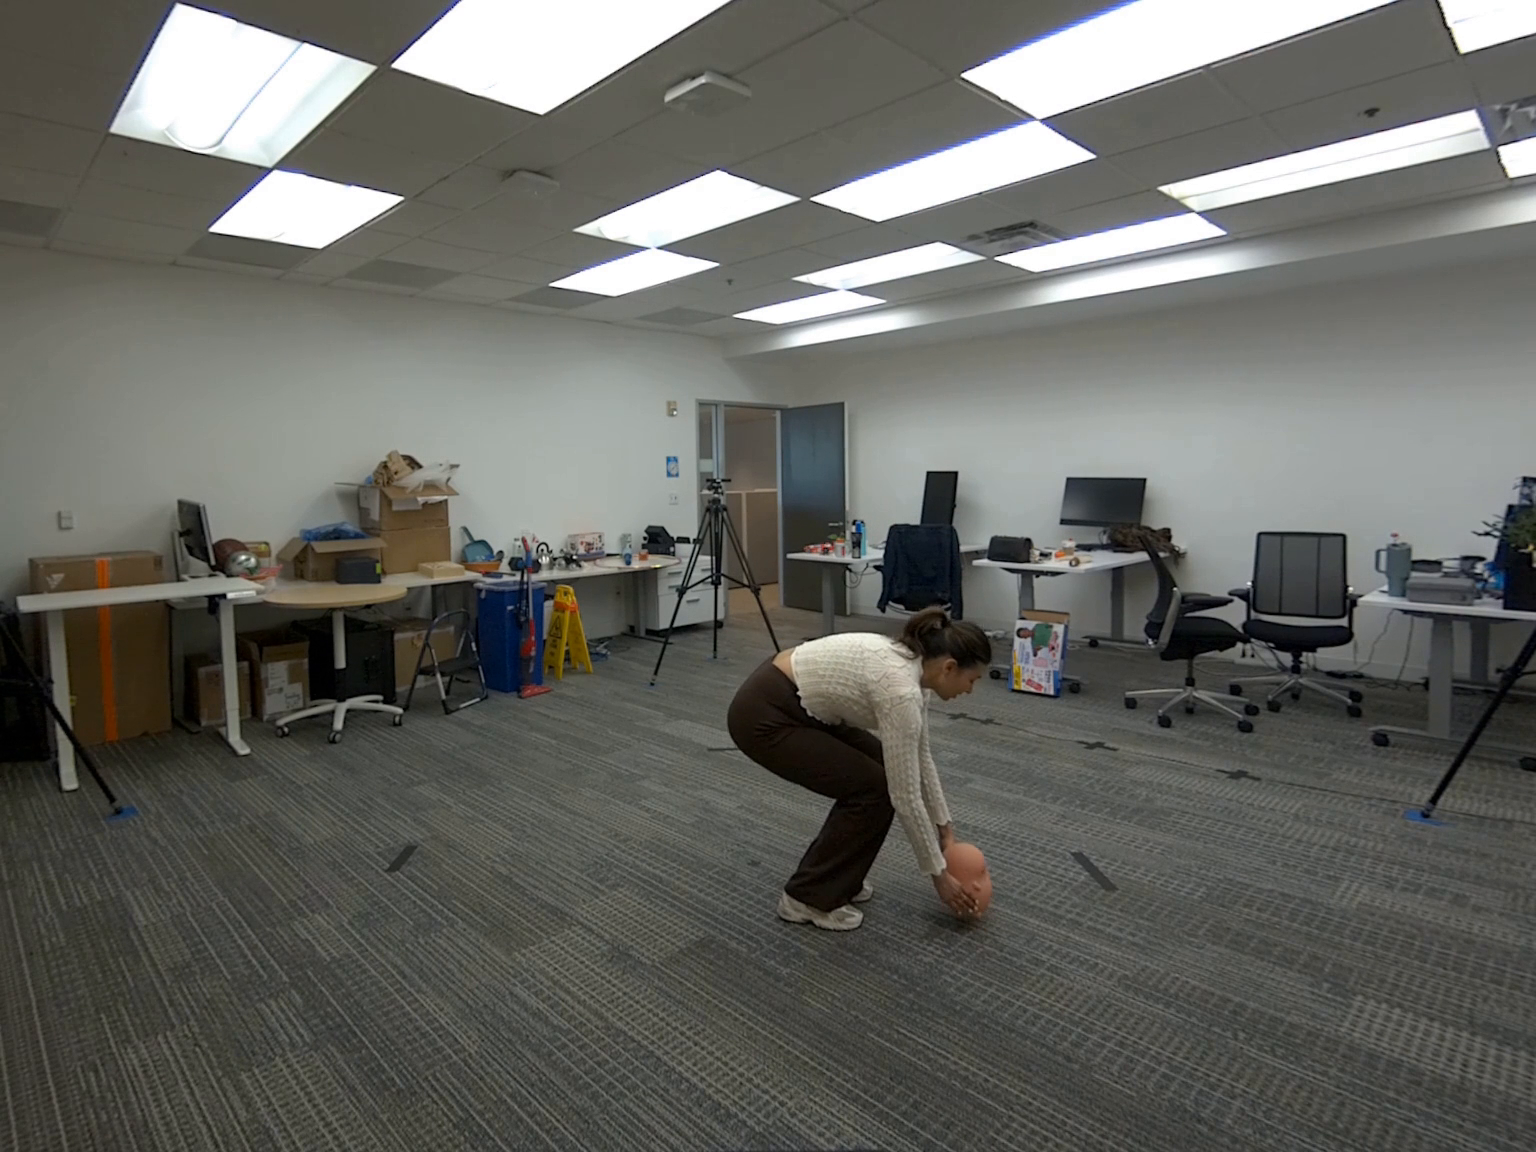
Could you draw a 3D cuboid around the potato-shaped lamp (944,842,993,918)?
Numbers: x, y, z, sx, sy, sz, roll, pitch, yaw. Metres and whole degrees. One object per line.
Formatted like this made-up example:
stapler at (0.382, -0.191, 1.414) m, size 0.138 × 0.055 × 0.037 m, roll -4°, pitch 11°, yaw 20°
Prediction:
potato-shaped lamp at (0.621, 0.928, 2.689) m, size 0.176 × 0.197 × 0.161 m, roll 8°, pitch 7°, yaw 30°
